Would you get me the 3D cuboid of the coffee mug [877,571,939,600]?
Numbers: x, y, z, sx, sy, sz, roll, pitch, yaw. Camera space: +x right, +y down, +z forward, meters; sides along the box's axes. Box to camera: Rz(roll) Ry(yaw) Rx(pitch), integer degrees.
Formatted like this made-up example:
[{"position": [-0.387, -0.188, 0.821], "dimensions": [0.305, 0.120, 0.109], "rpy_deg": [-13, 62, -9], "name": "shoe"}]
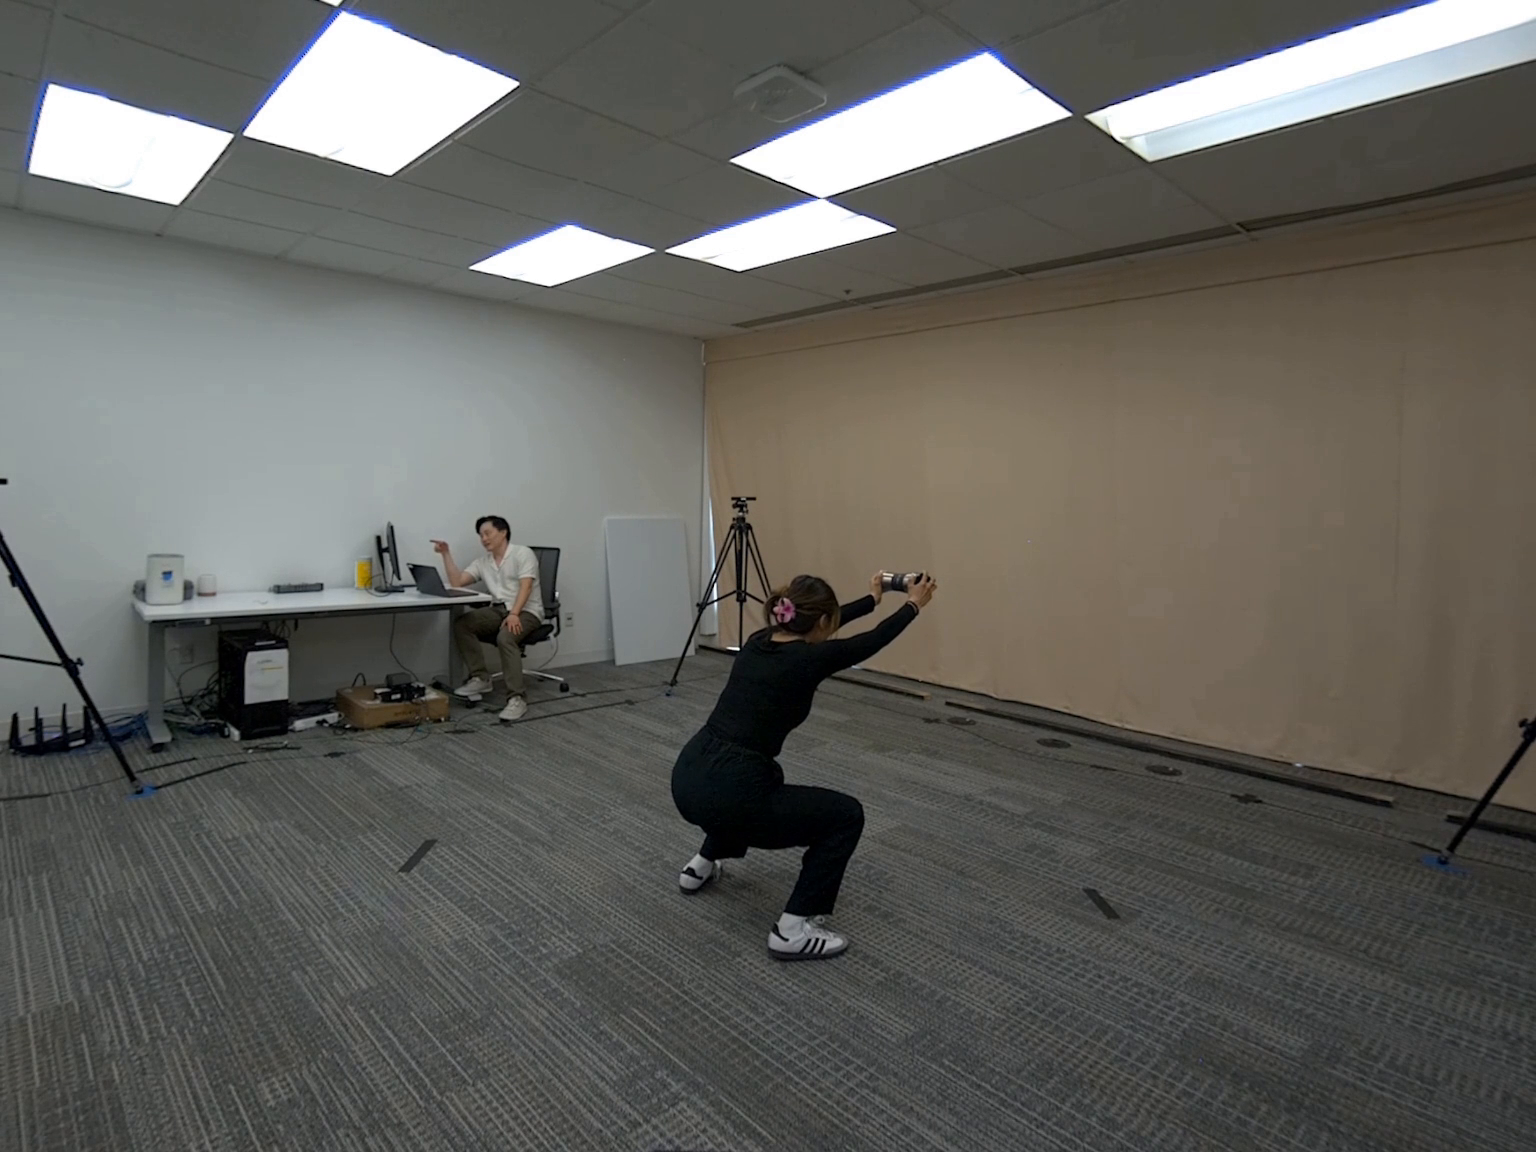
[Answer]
[{"position": [0.527, 0.033, 3.230], "dimensions": [0.119, 0.088, 0.208], "rpy_deg": [5, -1, -34], "name": "coffee mug"}]
